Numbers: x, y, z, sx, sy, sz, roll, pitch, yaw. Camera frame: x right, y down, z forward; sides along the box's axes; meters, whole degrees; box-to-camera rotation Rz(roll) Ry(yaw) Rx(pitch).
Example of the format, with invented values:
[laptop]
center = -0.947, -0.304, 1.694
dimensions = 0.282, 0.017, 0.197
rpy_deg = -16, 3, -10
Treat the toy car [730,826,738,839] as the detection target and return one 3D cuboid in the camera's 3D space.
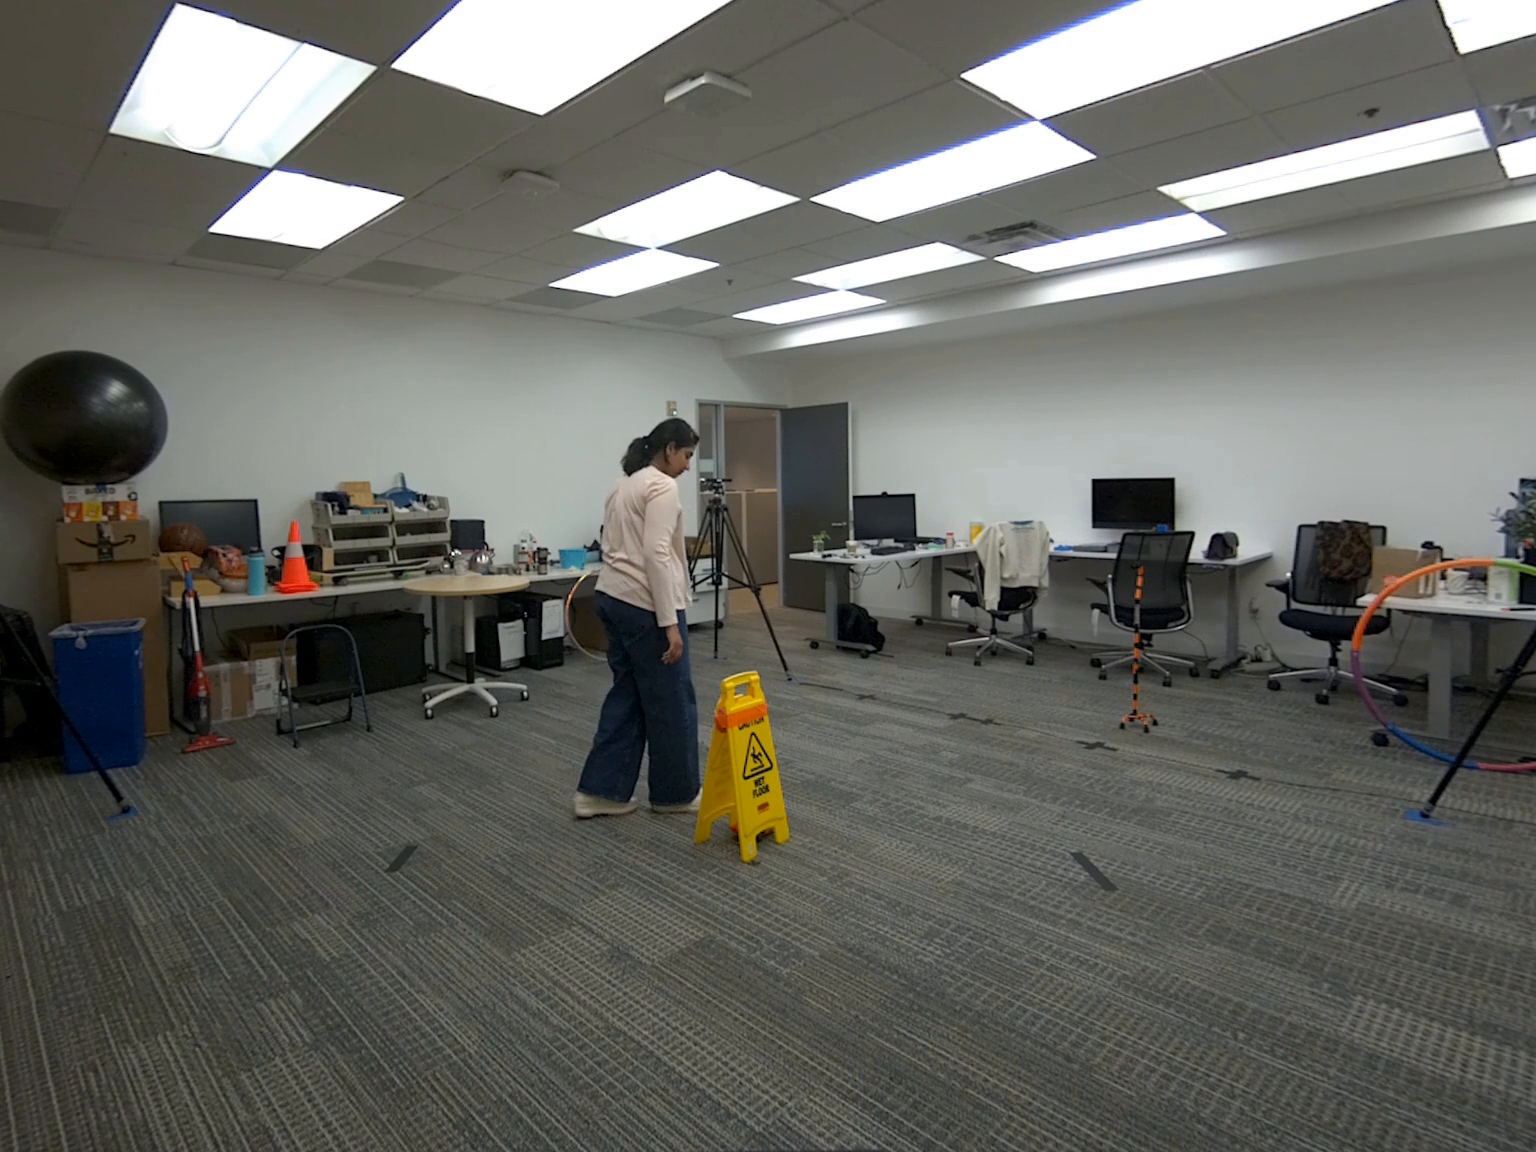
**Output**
[toy car]
center = -0.037, 0.981, 3.357
dimensions = 0.134, 0.083, 0.246
rpy_deg = 6, -1, 45
